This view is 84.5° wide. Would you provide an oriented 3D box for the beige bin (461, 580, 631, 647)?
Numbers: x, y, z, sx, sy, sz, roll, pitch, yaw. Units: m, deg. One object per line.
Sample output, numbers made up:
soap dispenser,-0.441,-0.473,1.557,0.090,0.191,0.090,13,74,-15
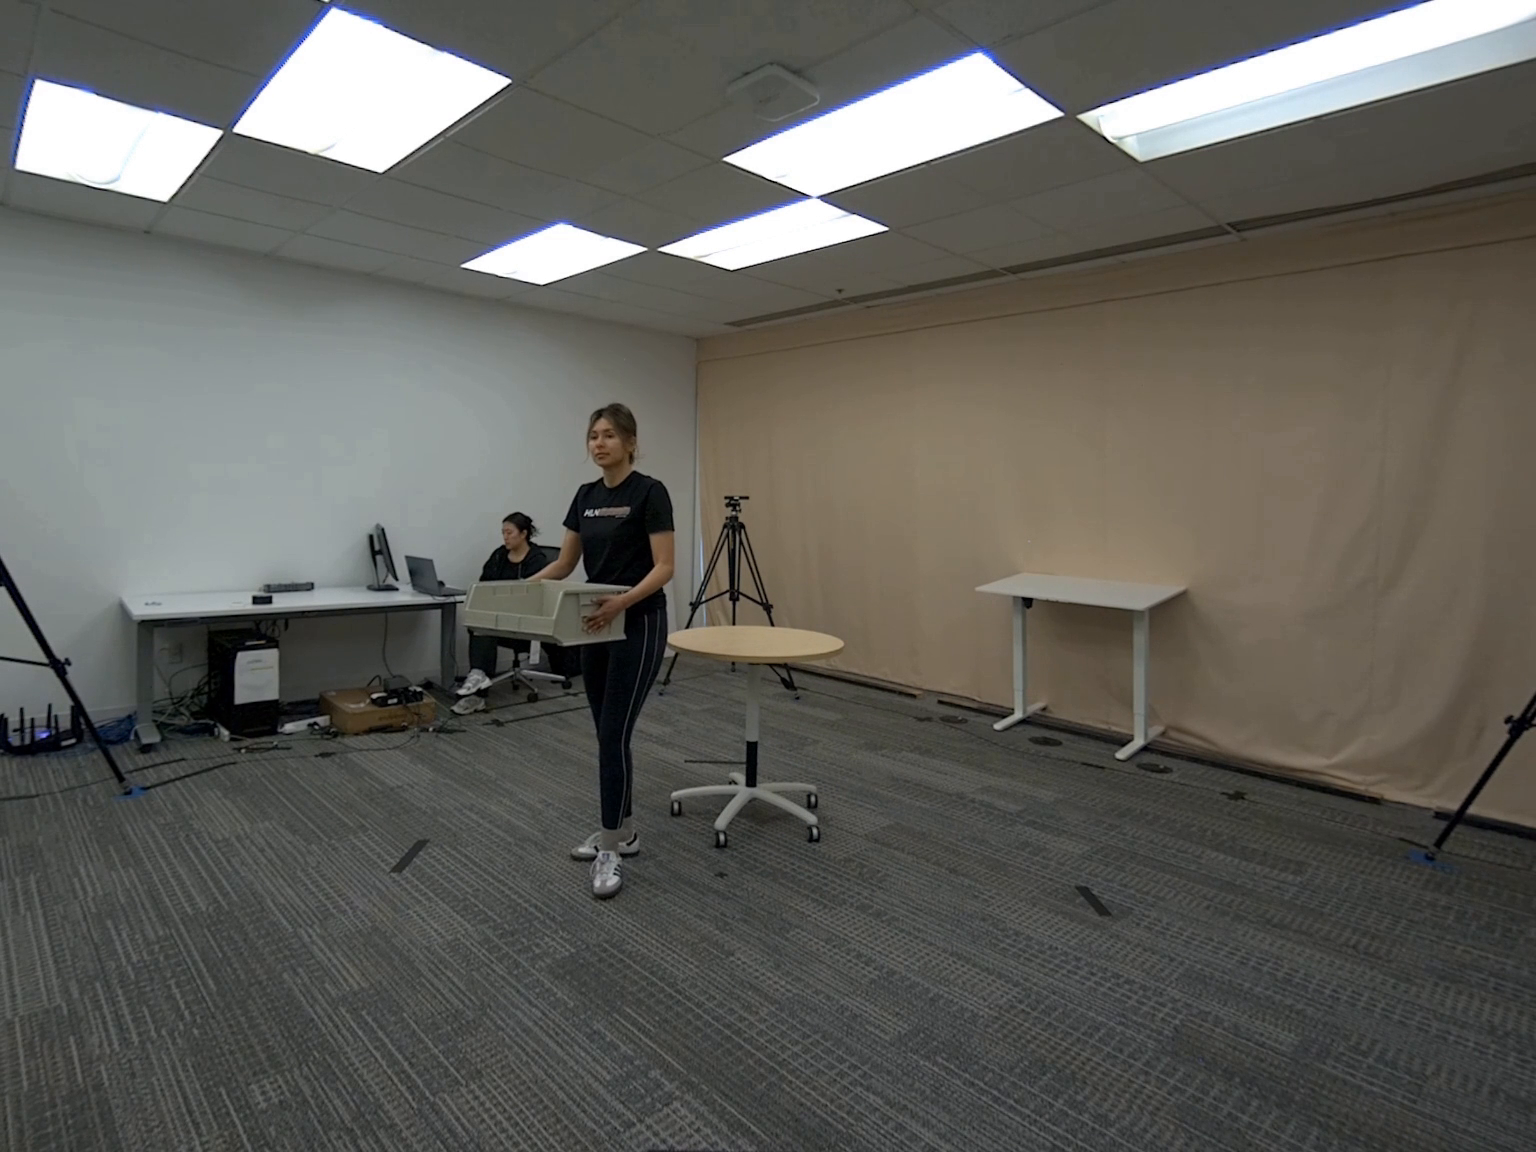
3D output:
beige bin,-0.754,0.121,2.852,0.431,0.189,0.369,3,0,28
